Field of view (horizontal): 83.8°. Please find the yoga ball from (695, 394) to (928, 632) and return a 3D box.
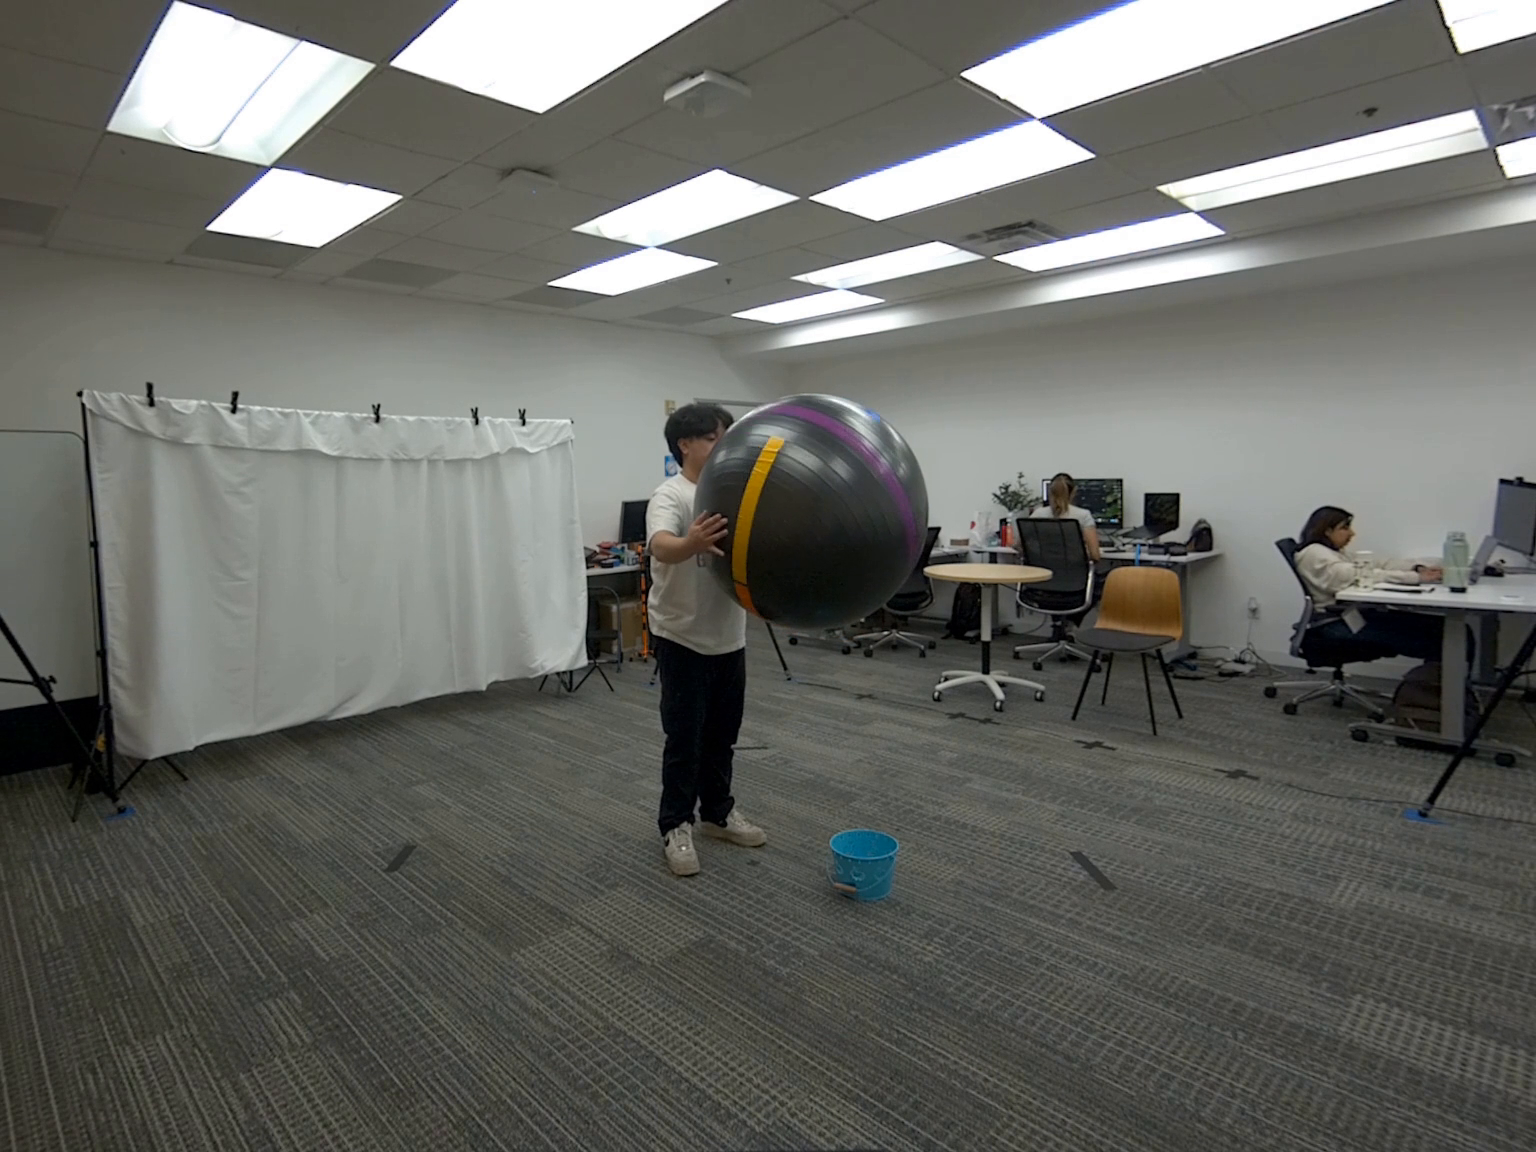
[{"bbox_3d":[0.141,-0.196,2.773,0.757,0.755,0.762,-1,5,-2],"label":"yoga ball"}]
